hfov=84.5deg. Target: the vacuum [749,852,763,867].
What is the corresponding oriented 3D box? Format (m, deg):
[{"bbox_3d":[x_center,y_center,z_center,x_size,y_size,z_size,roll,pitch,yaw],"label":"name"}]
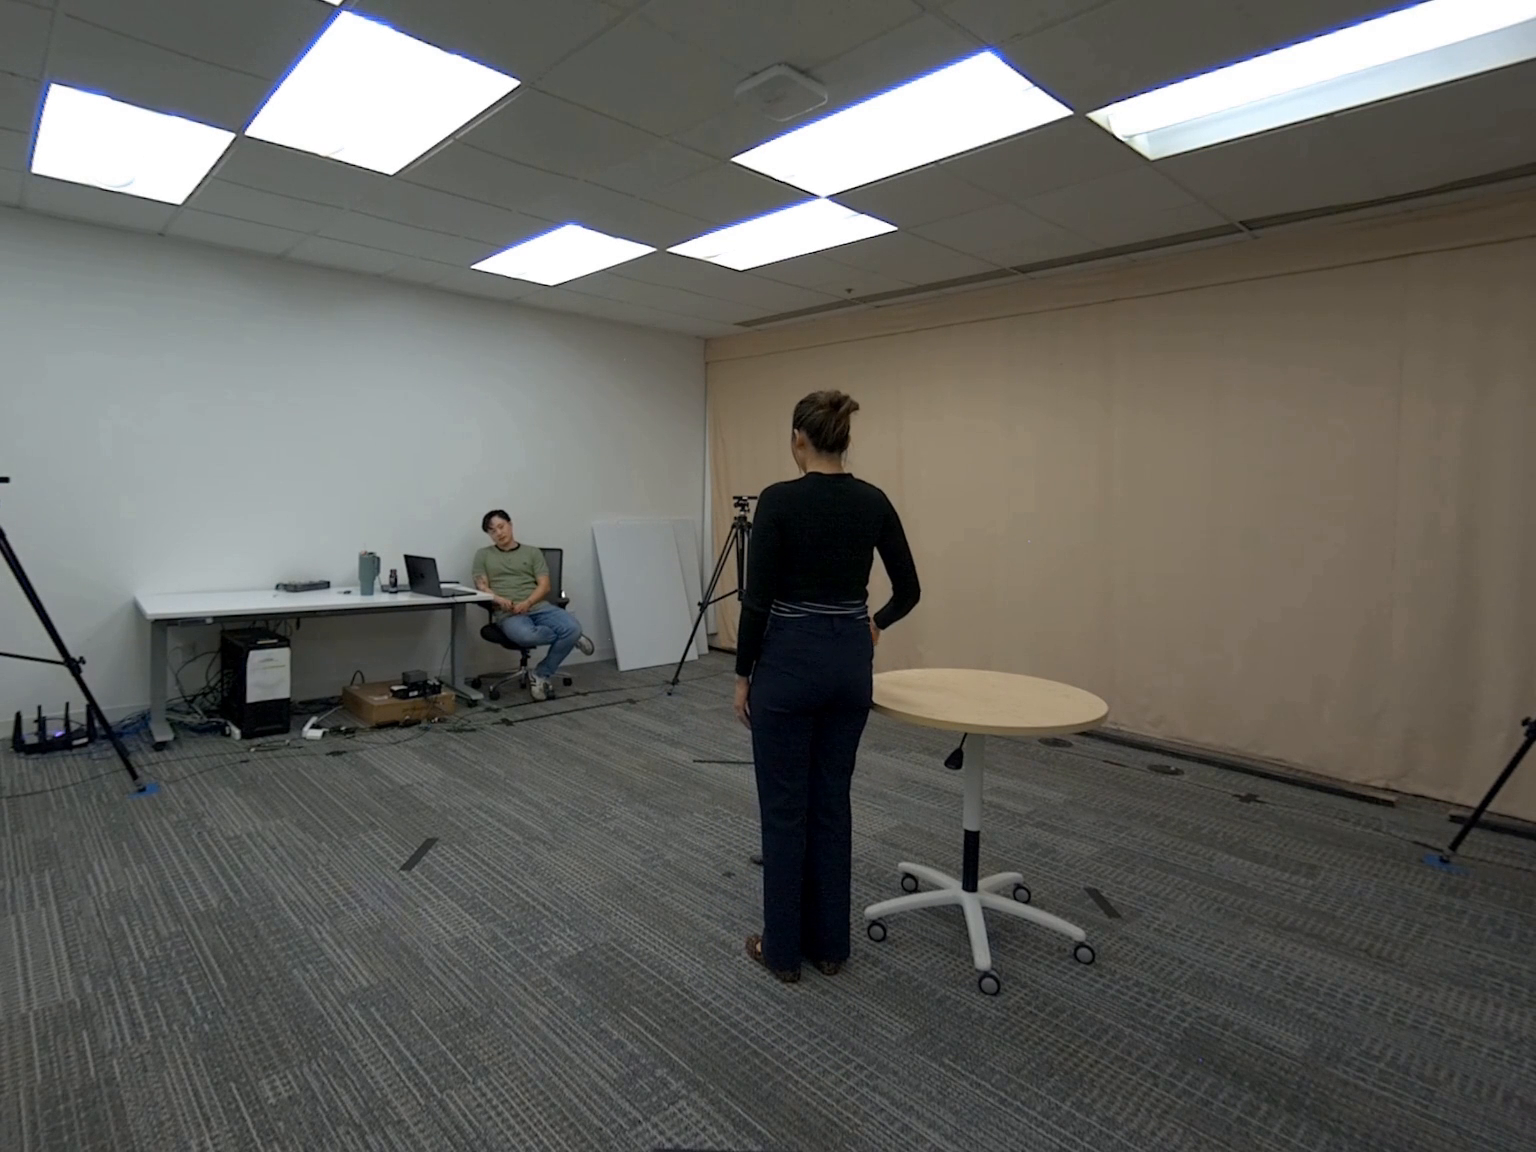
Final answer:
[{"bbox_3d":[0.194,0.652,3.015,0.247,1.037,0.149,0,31,-32],"label":"vacuum"}]
